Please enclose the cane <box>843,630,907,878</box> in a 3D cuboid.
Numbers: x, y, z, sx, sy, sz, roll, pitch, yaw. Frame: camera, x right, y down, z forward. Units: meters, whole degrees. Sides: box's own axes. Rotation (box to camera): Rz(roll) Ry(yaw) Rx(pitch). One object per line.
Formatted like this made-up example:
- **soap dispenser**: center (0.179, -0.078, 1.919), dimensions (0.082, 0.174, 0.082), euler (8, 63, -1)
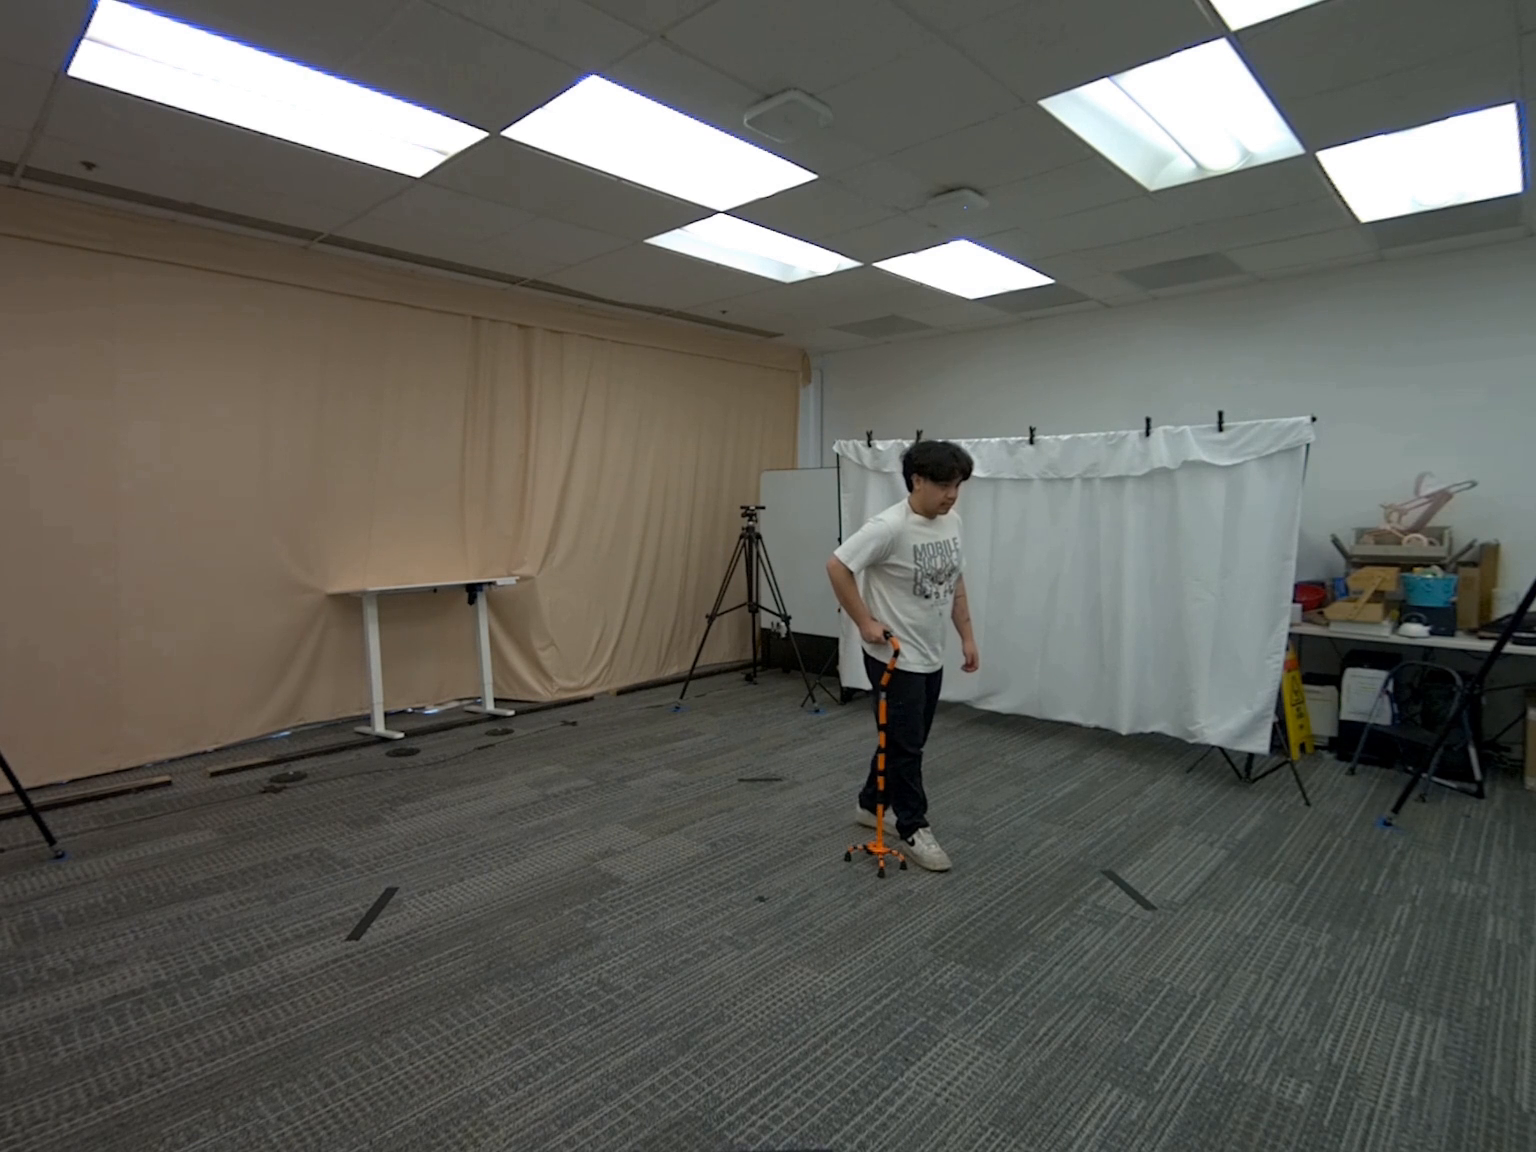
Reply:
- **cane**: center (0.422, 0.671, 3.226), dimensions (0.147, 0.905, 0.213), euler (-3, 5, -35)
